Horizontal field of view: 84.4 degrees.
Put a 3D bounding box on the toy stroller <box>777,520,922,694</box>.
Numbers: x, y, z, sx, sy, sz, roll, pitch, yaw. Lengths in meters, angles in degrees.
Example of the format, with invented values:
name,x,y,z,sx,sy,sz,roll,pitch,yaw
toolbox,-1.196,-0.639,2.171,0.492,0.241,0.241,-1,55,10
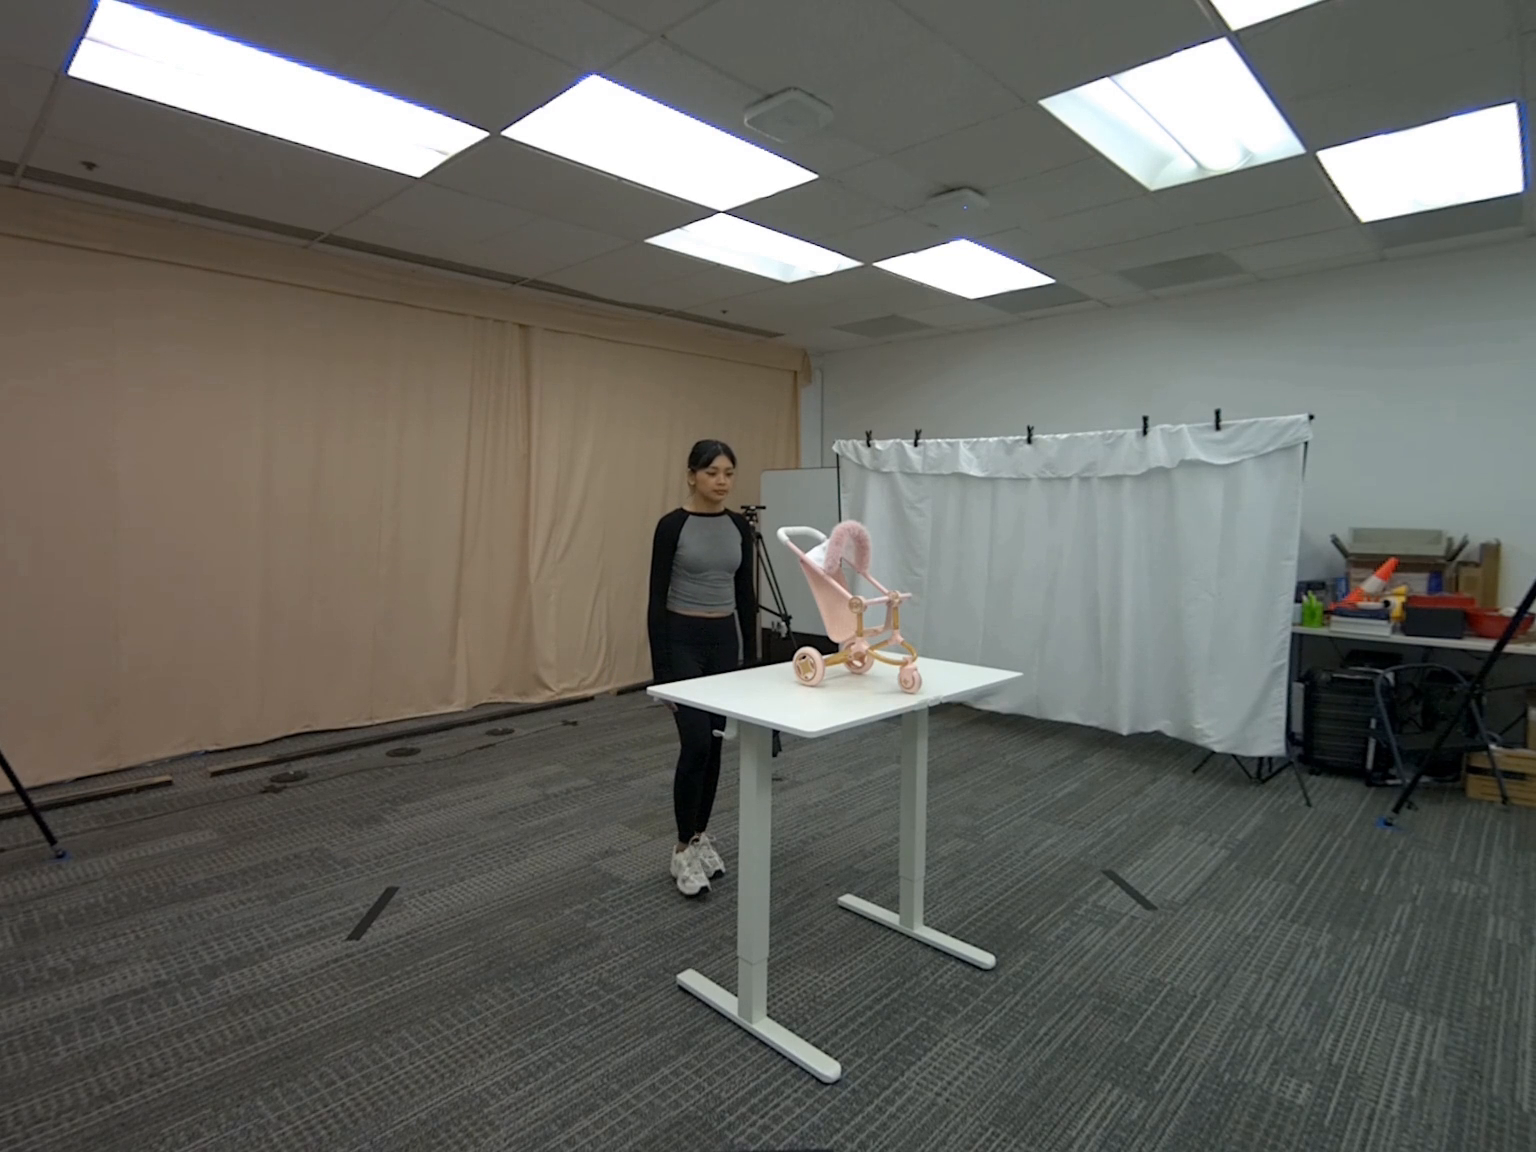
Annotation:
name,x,y,z,sx,sy,sz,roll,pitch,yaw
toy stroller,0.245,0.085,2.403,0.273,0.538,0.350,-3,-9,-44
